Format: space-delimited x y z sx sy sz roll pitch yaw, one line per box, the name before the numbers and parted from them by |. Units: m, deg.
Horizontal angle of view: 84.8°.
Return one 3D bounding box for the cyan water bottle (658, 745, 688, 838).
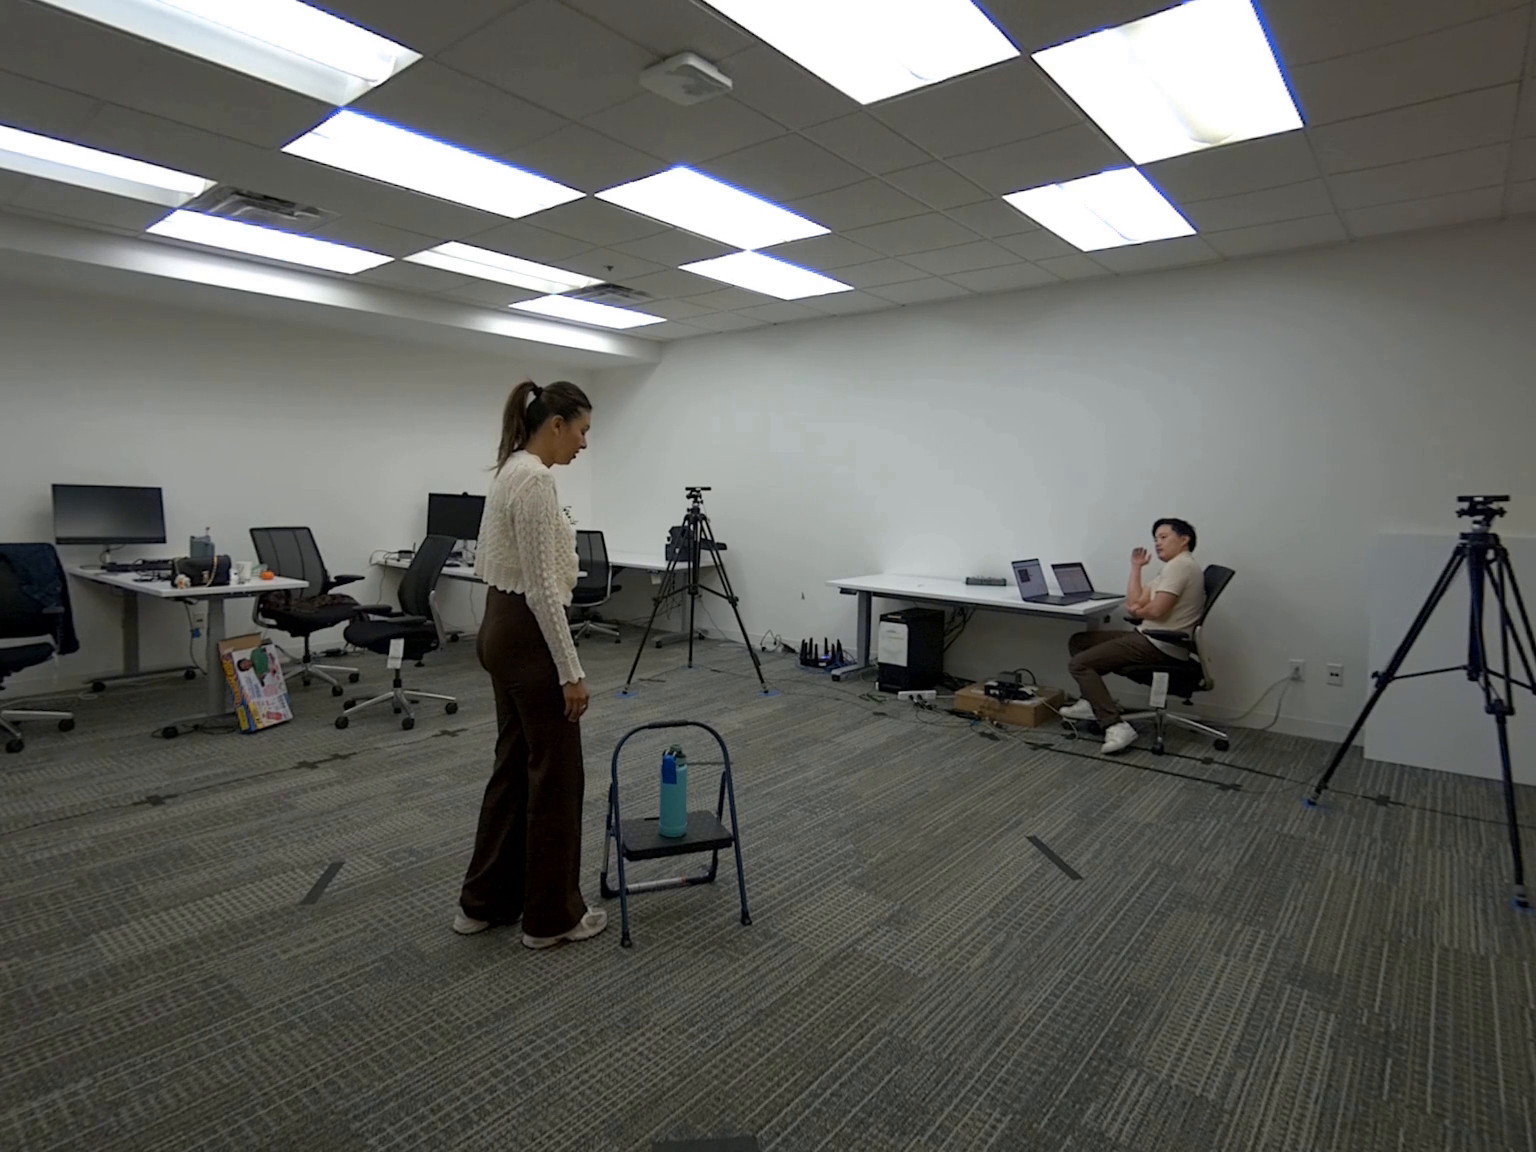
cyan water bottle | -0.318 0.699 2.765 0.092 0.282 0.093 1 5 -2
